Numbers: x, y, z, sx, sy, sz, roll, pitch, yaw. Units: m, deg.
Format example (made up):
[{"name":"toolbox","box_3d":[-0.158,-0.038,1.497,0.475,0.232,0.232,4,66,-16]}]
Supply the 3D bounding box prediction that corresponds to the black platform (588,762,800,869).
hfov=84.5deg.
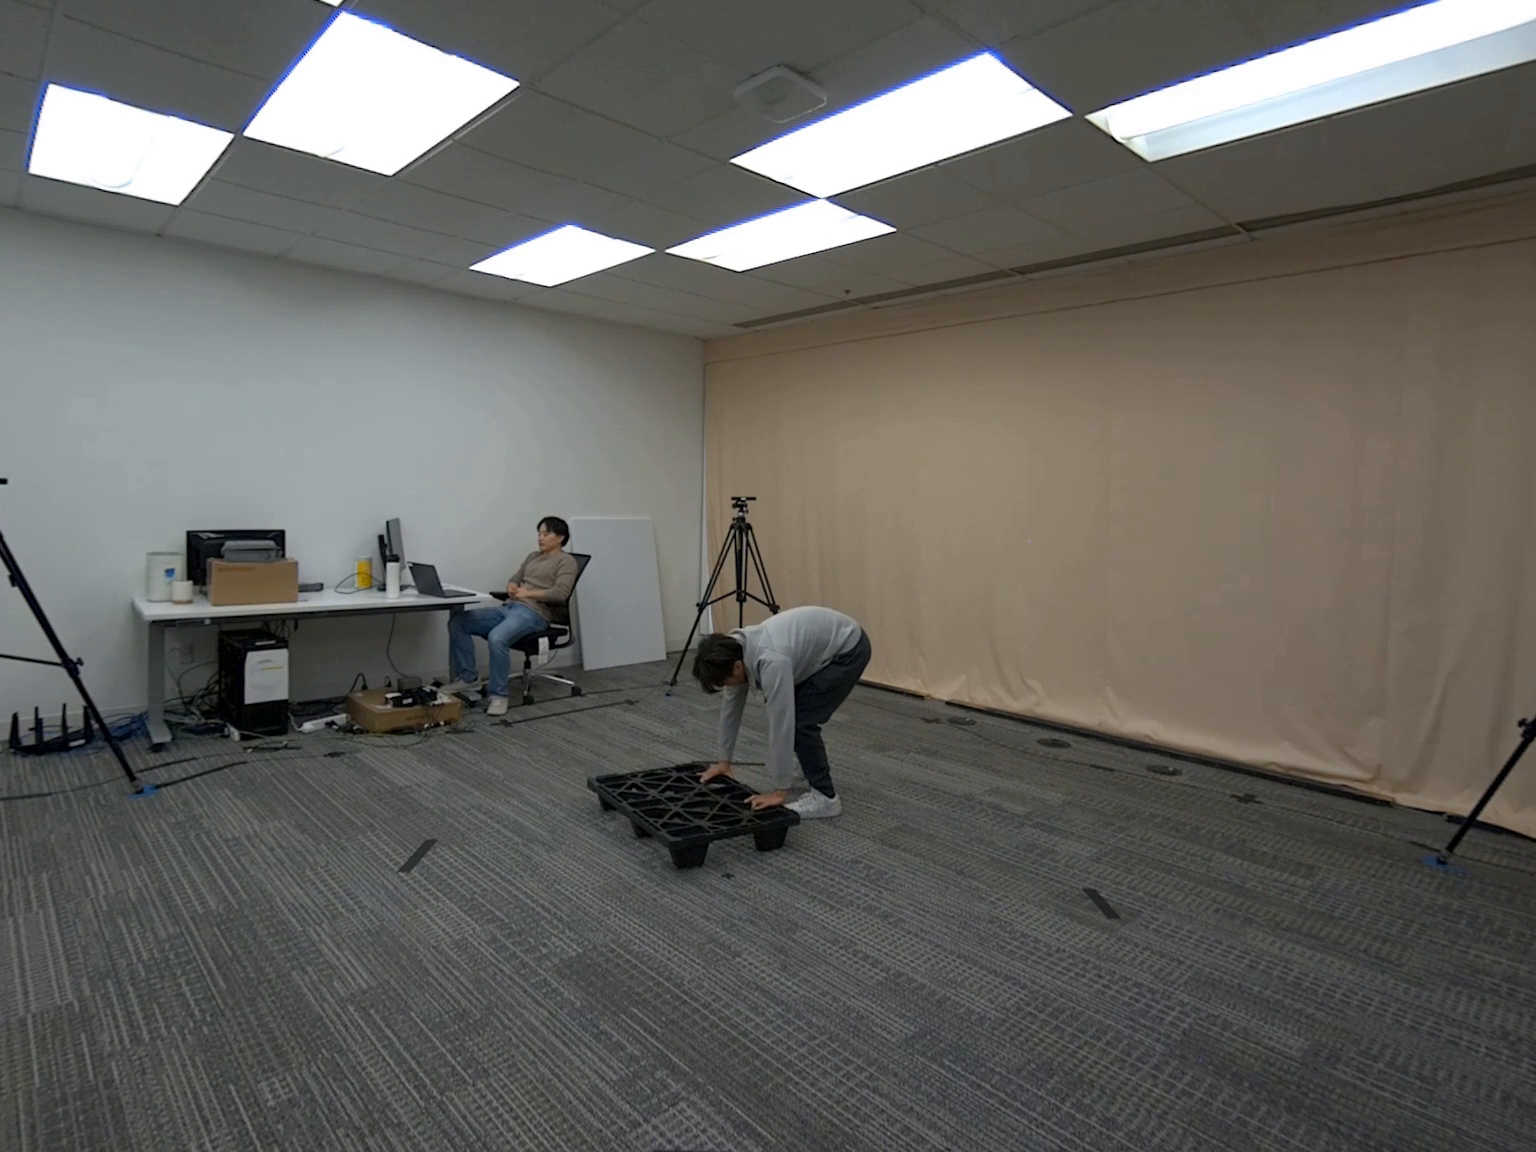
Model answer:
[{"name":"black platform","box_3d":[-0.345,0.992,3.545,0.592,0.143,0.825,-1,5,-33]}]
